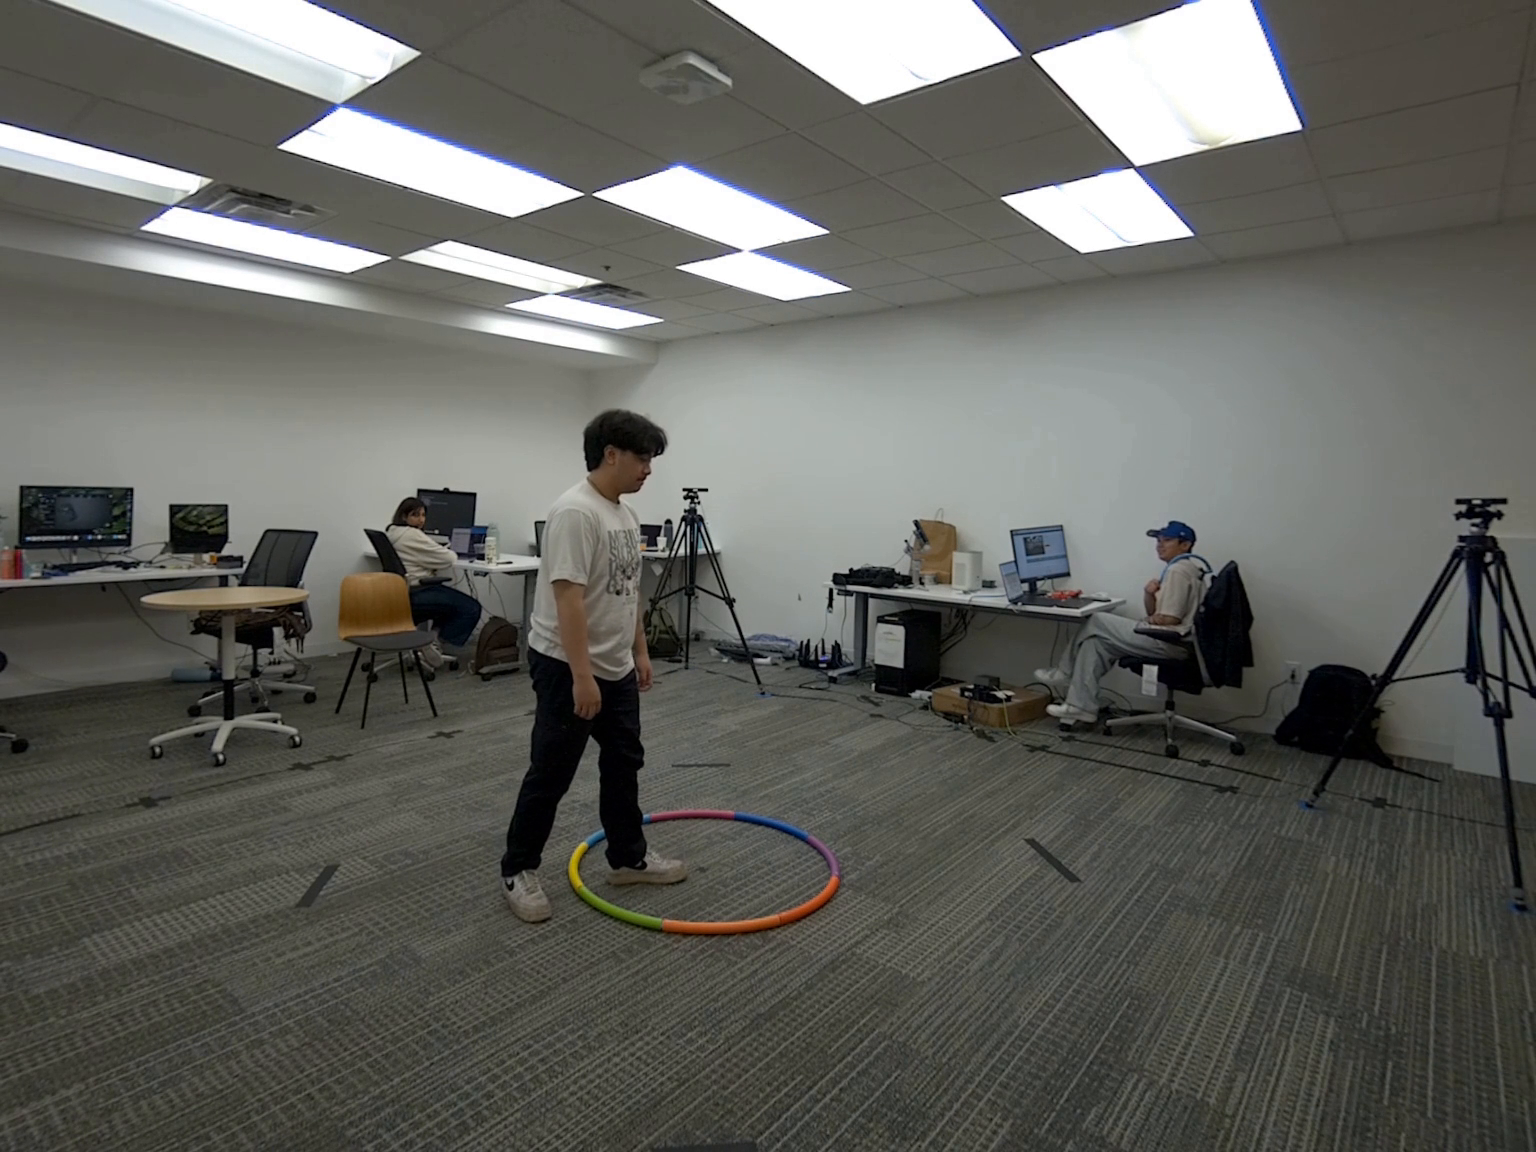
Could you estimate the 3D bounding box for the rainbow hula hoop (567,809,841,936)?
[{"bbox_3d":[-0.243,1.045,3.125,0.984,0.051,0.991,1,6,-2],"label":"rainbow hula hoop"}]
